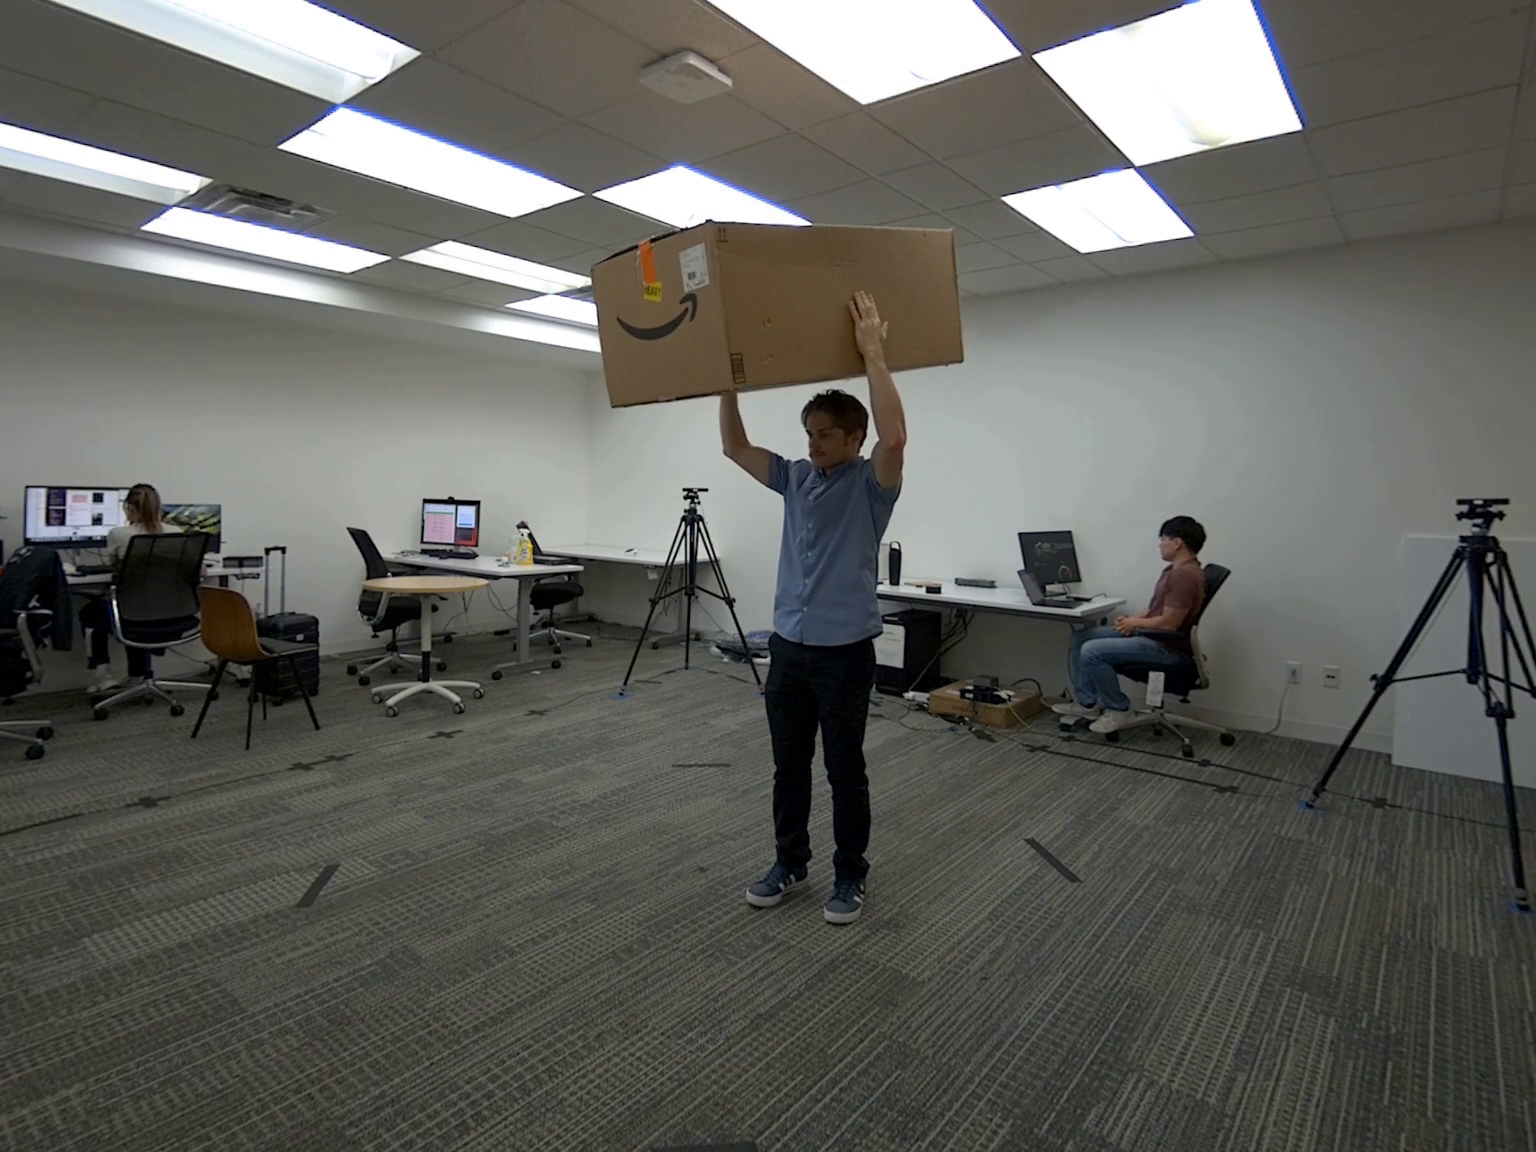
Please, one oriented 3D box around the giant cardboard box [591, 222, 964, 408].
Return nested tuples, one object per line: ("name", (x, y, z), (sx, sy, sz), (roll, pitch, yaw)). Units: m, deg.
("giant cardboard box", (0.044, -0.803, 2.647), (1.003, 0.421, 0.597), (-18, 15, -40))
